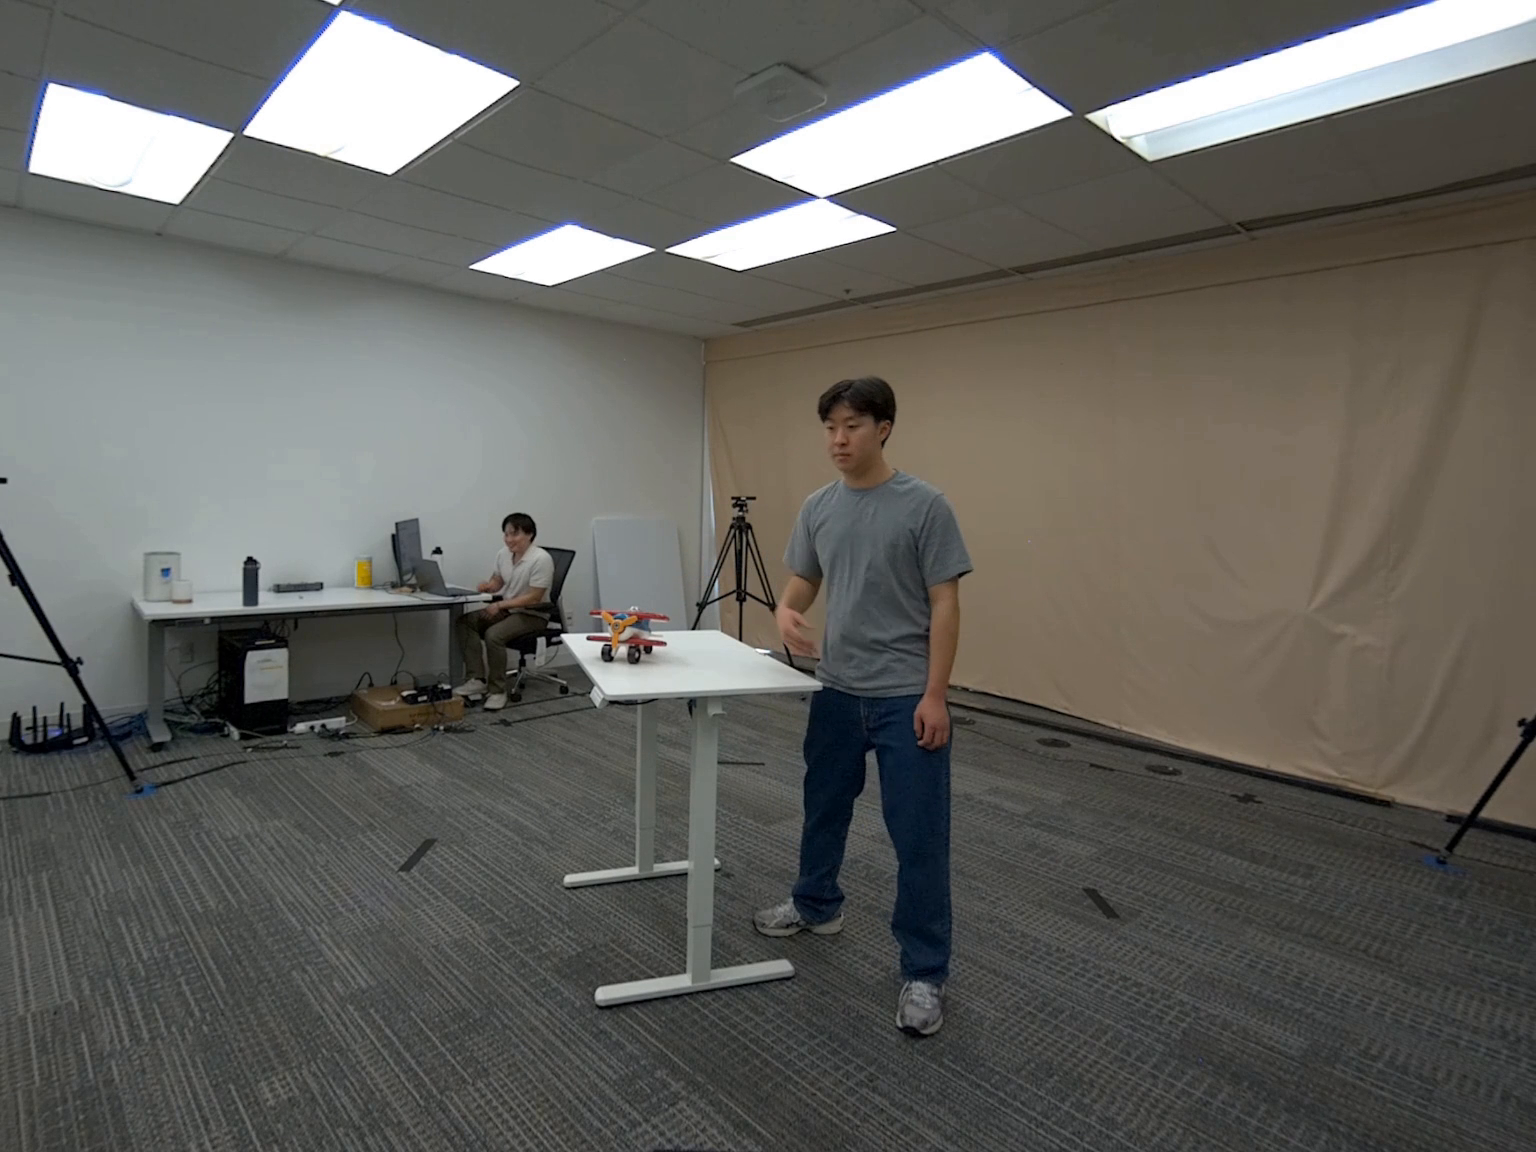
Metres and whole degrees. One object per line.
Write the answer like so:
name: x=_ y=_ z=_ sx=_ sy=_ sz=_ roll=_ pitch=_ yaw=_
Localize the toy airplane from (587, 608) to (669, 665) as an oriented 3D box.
toy airplane: x=-0.447 y=0.182 z=2.641 sx=0.249 sy=0.156 sz=0.262 roll=1 pitch=6 yaw=-12
